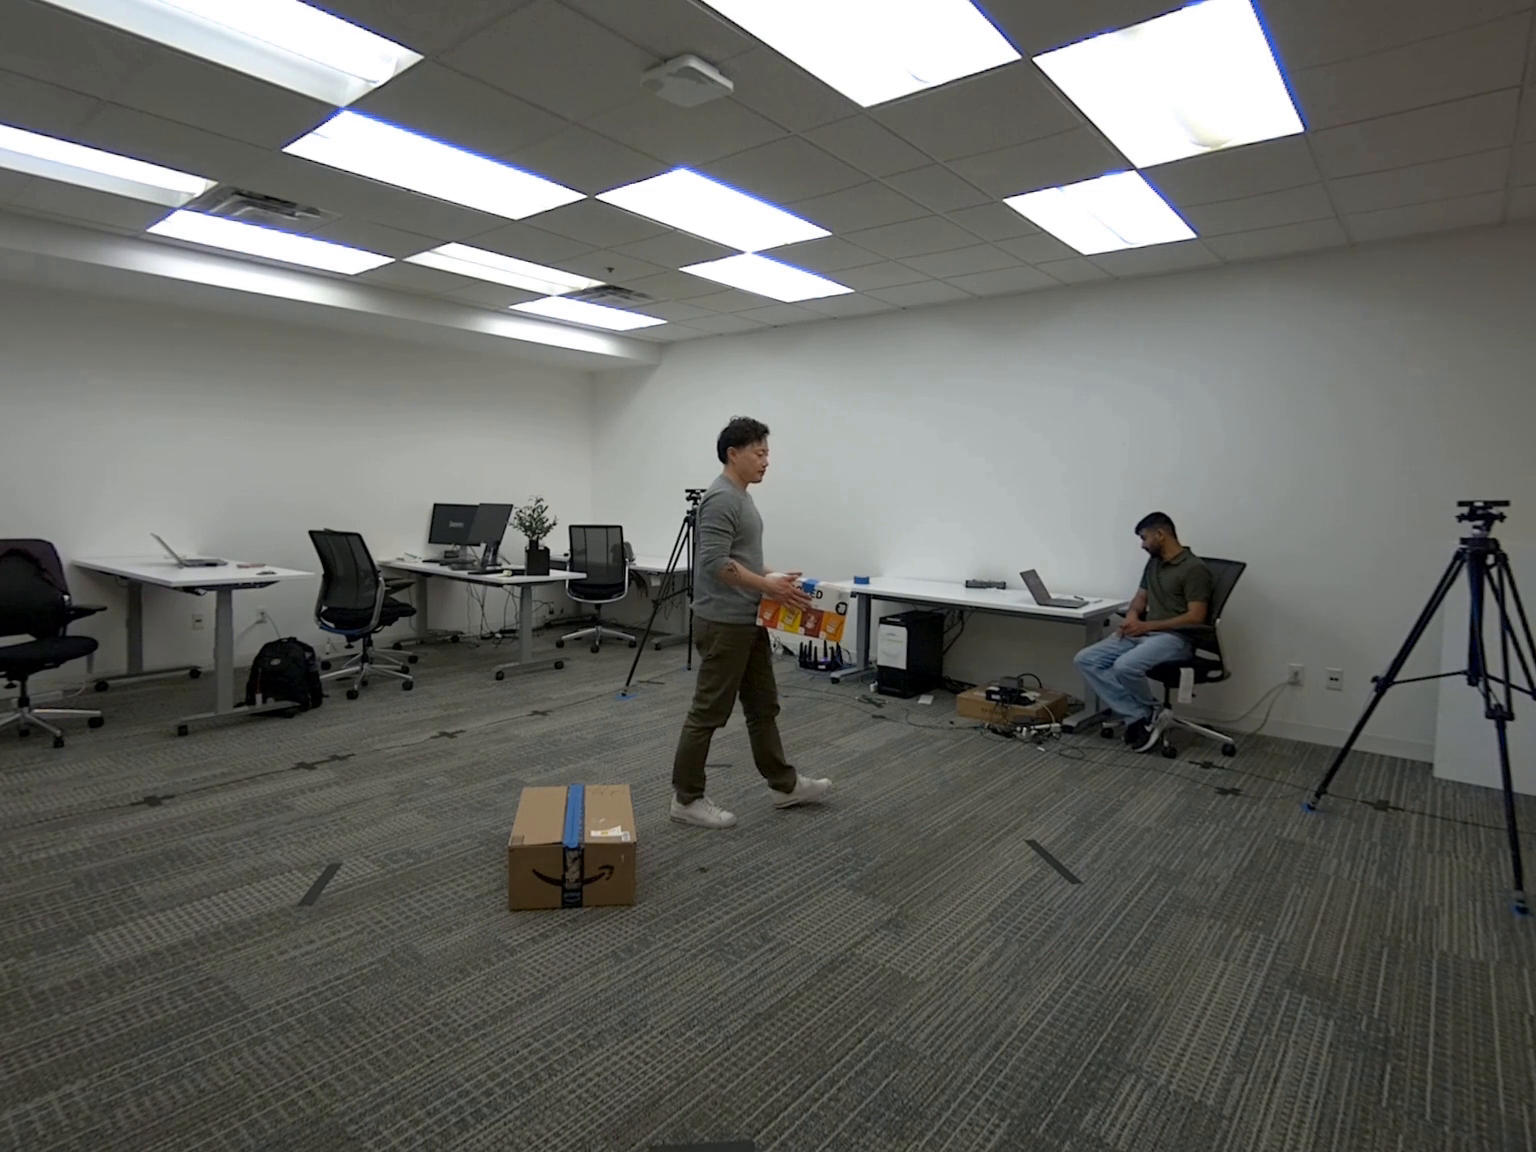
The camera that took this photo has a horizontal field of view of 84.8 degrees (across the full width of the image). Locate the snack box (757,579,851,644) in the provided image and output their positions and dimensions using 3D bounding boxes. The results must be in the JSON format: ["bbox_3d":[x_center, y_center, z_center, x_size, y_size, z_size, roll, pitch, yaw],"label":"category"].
[{"bbox_3d":[0.151,0.117,3.498,0.344,0.205,0.402,11,3,7],"label":"snack box"}]
